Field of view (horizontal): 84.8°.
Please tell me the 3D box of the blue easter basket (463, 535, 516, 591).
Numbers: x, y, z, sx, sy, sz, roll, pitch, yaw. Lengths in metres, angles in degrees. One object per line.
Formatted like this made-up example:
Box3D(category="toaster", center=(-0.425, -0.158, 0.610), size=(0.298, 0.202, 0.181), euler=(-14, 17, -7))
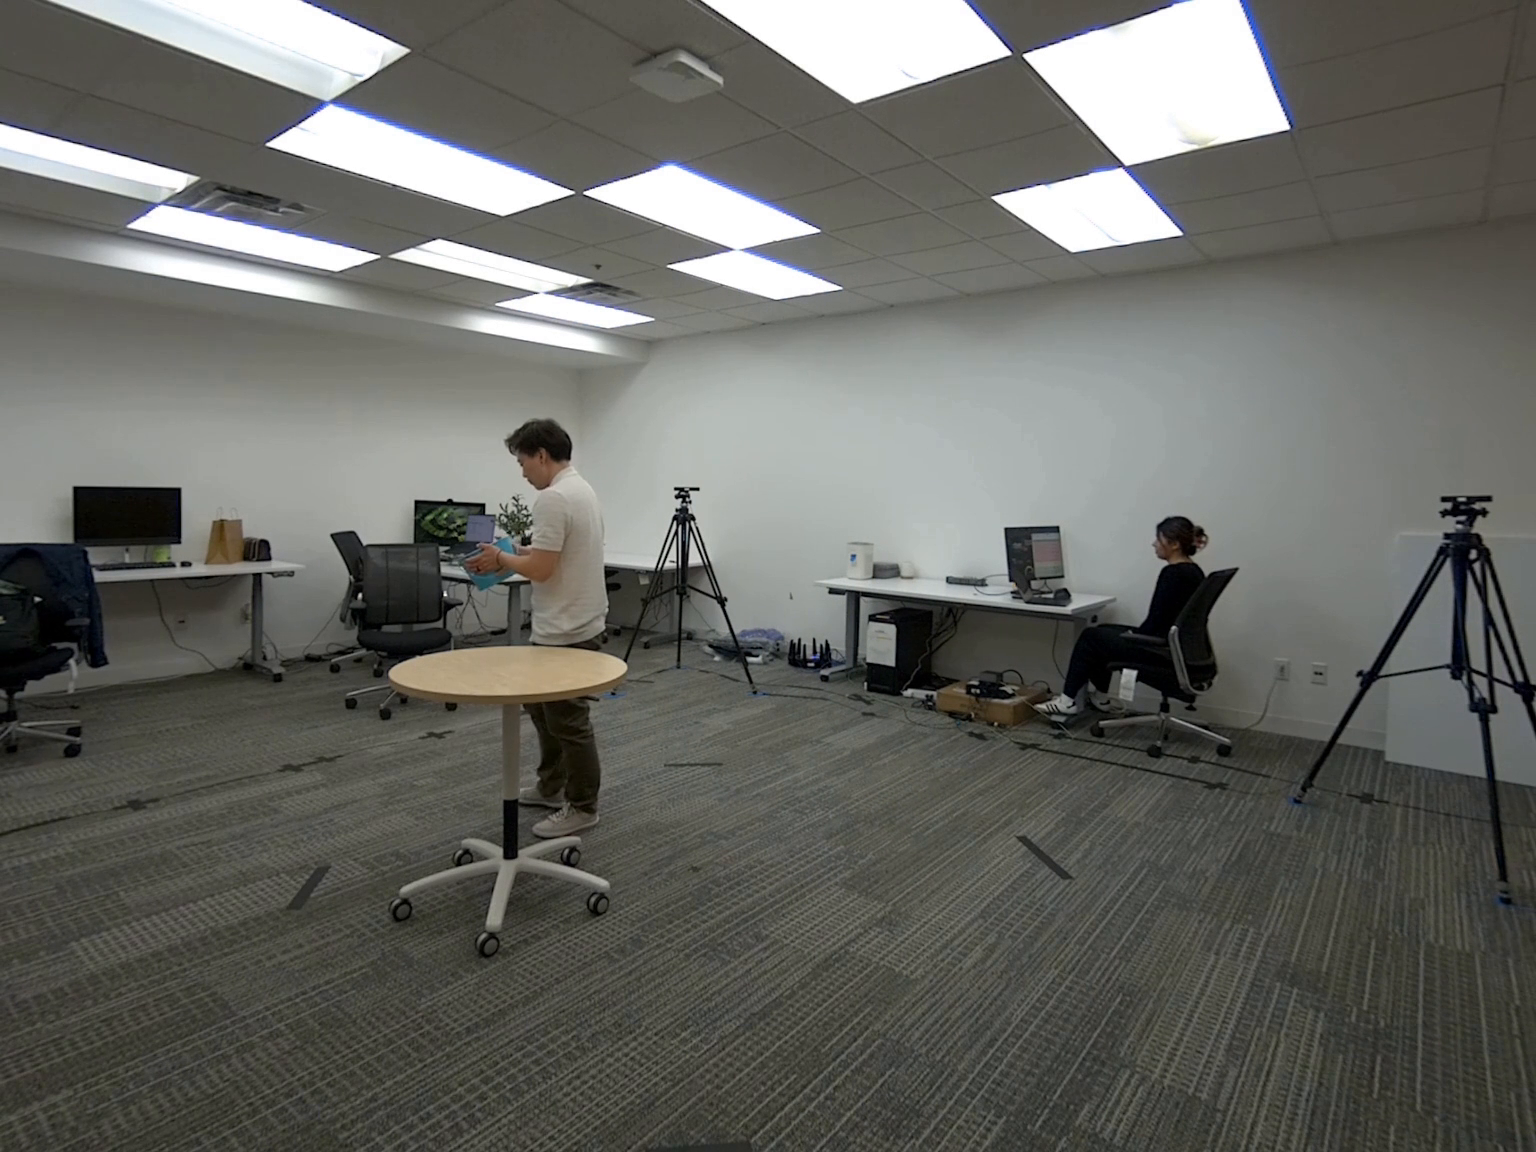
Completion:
Box3D(category="blue easter basket", center=(-1.145, -0.047, 3.431), size=(0.244, 0.154, 0.246), euler=(-24, 9, 2))
